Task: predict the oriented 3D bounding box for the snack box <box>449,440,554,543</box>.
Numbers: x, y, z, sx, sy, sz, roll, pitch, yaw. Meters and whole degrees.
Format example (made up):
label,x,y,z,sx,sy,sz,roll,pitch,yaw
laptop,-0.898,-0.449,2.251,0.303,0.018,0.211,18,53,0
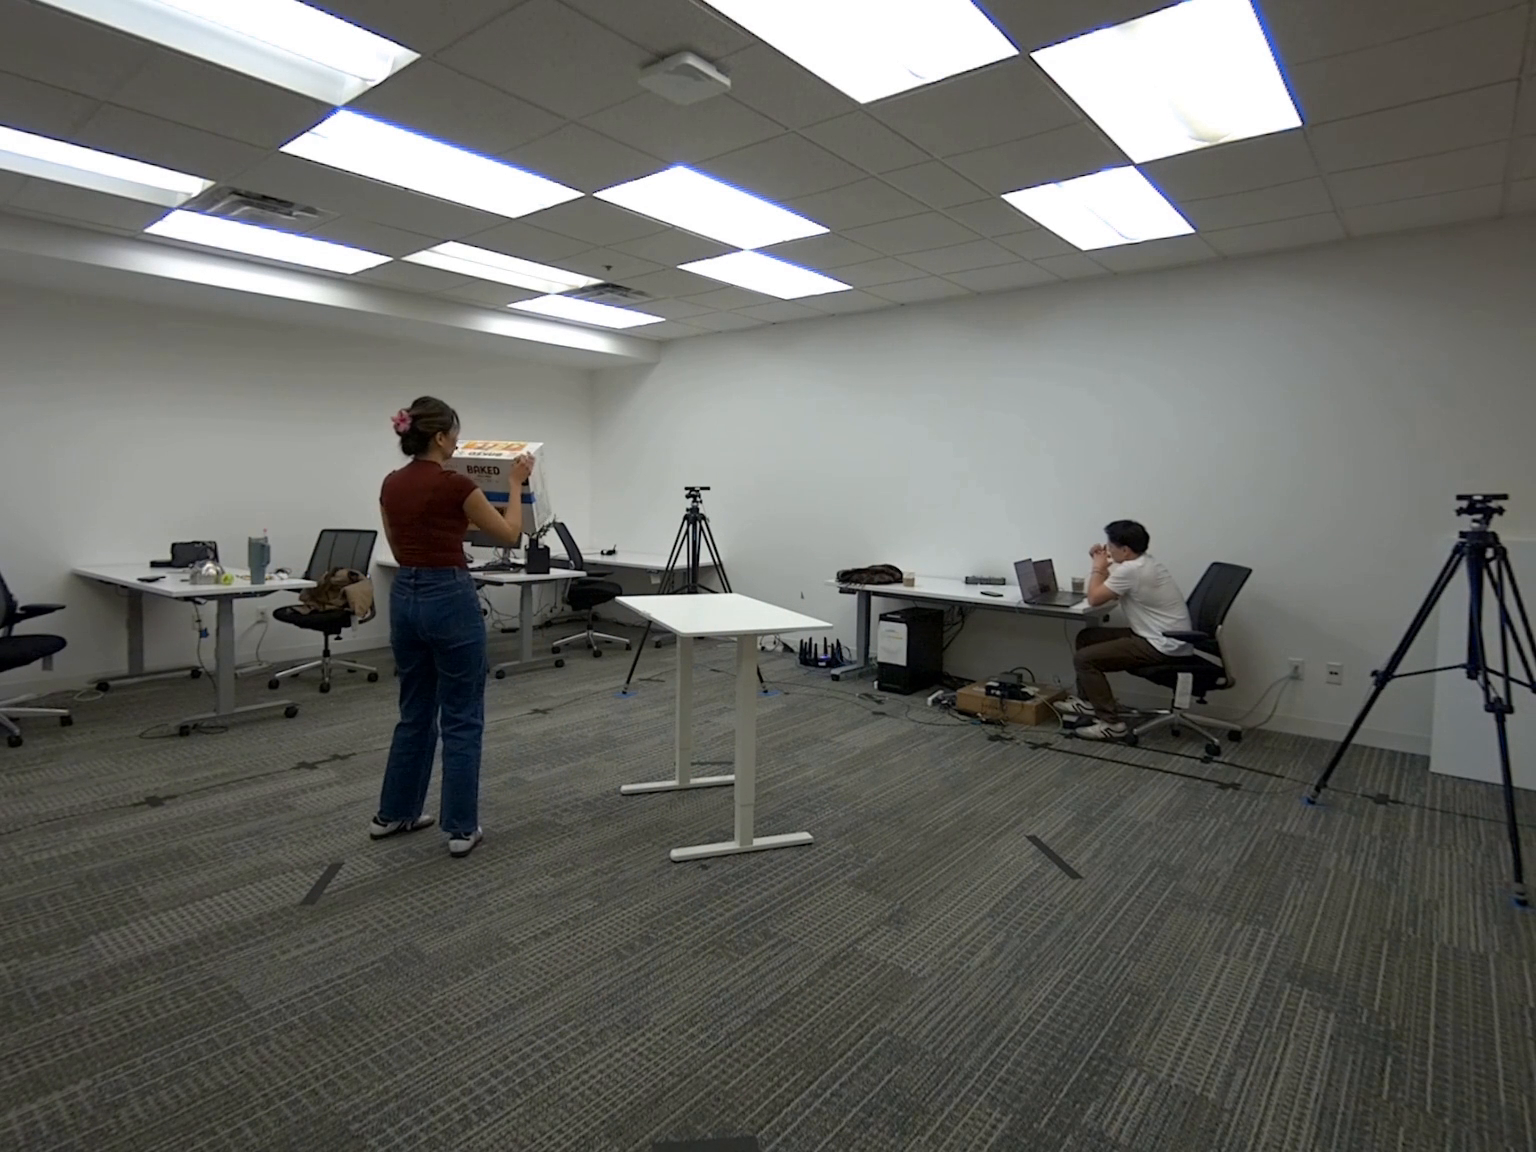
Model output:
label,x,y,z,sx,sy,sz,roll,pitch,yaw
snack box,-1.198,-0.392,3.672,0.409,0.332,0.209,4,29,8
